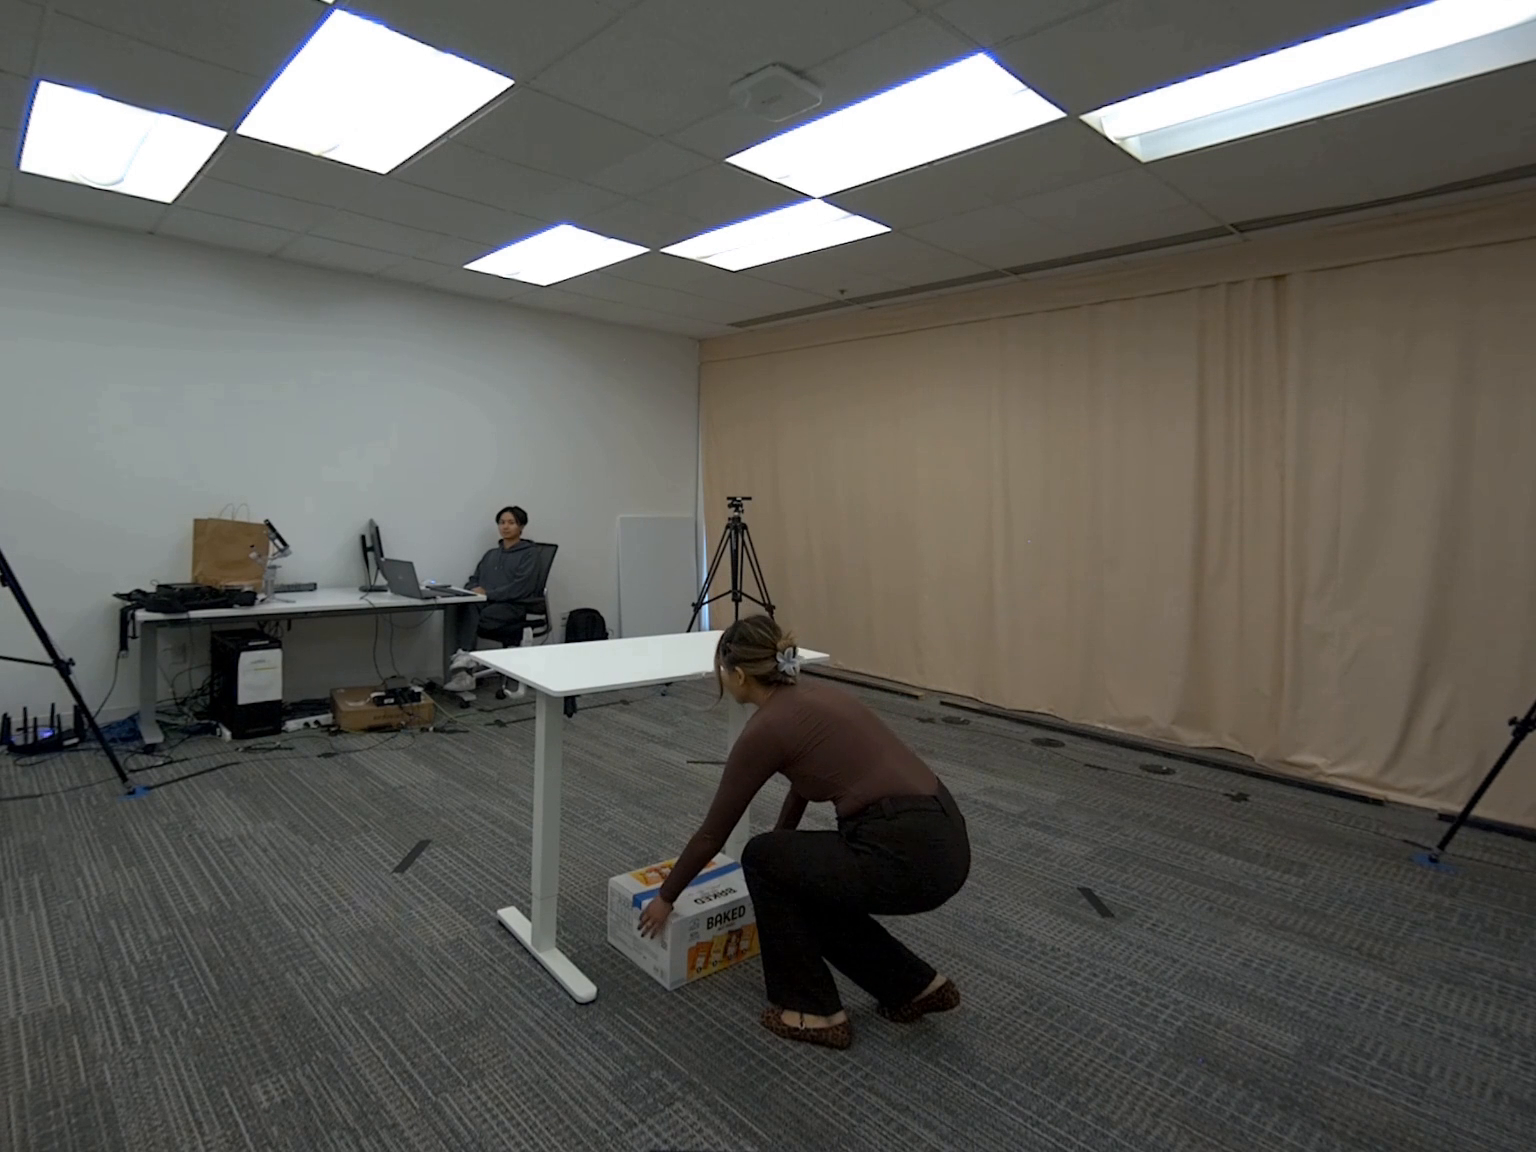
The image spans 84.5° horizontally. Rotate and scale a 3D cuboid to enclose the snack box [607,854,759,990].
[{"bbox_3d":[-0.239,1.049,2.604,0.396,0.205,0.349,-3,6,-41],"label":"snack box"}]
